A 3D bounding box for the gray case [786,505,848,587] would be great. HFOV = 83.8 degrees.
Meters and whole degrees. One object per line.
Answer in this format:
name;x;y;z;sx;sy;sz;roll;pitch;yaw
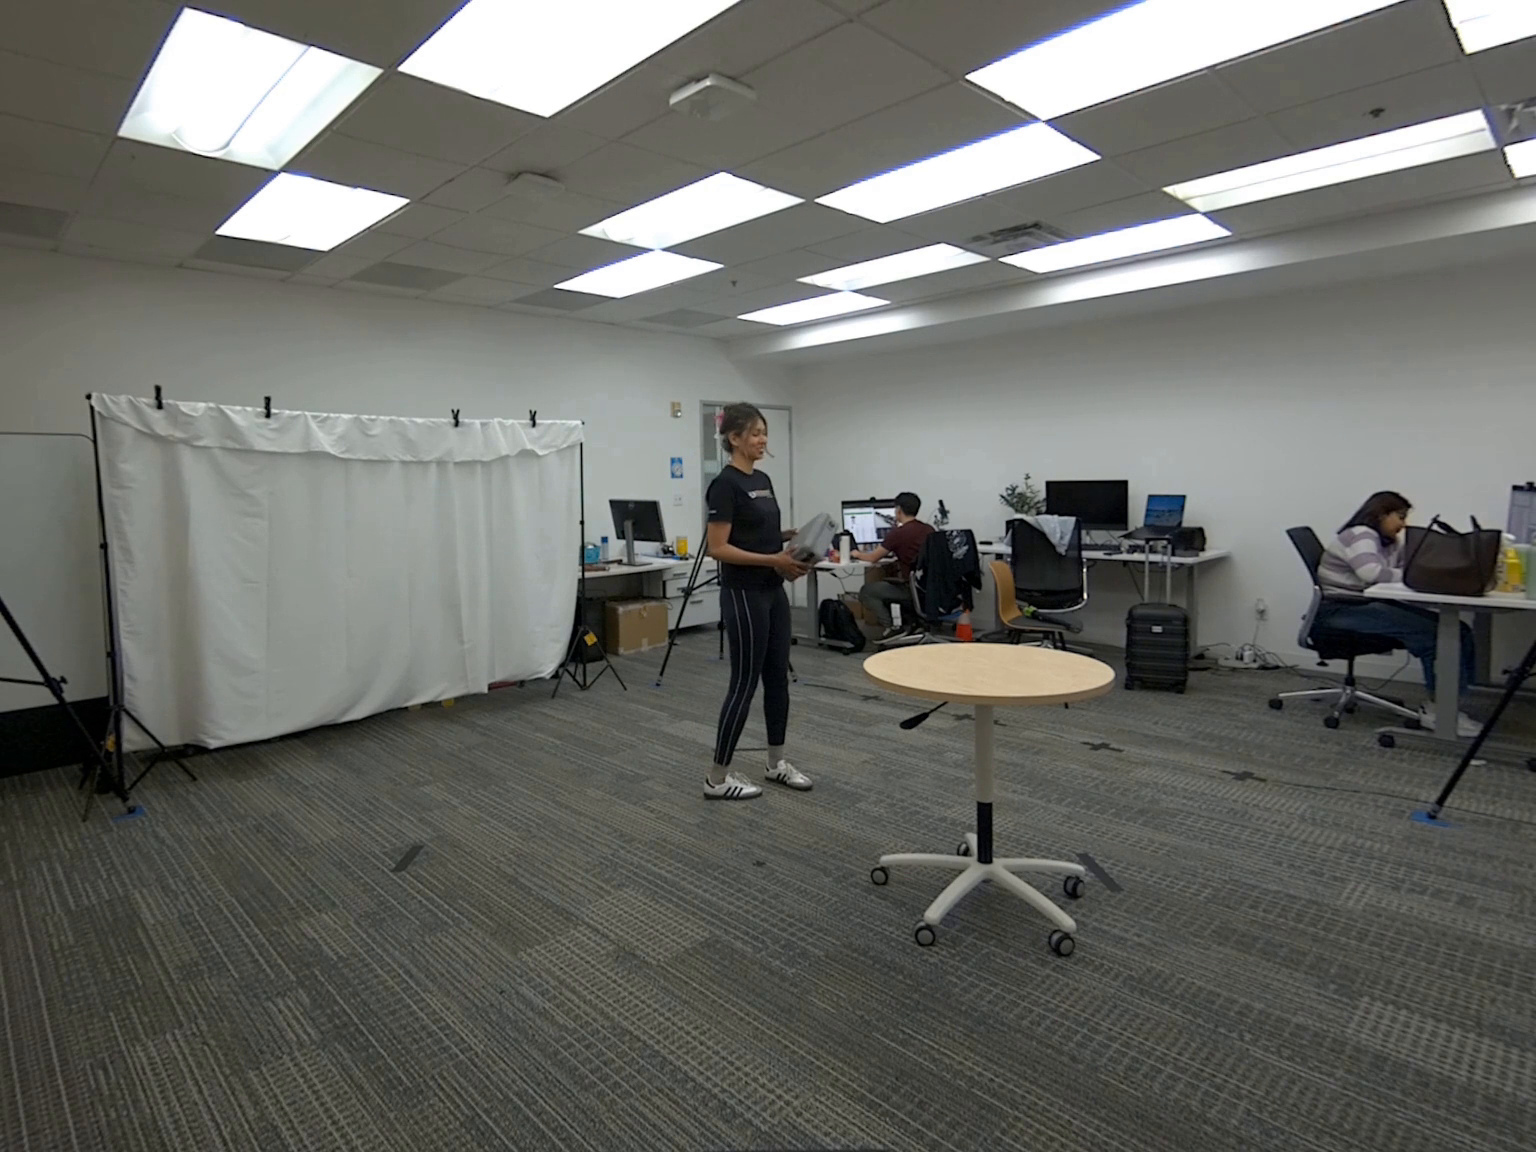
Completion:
gray case;0.178;-0.129;3.639;0.103;0.262;0.258;38;-39;-10
